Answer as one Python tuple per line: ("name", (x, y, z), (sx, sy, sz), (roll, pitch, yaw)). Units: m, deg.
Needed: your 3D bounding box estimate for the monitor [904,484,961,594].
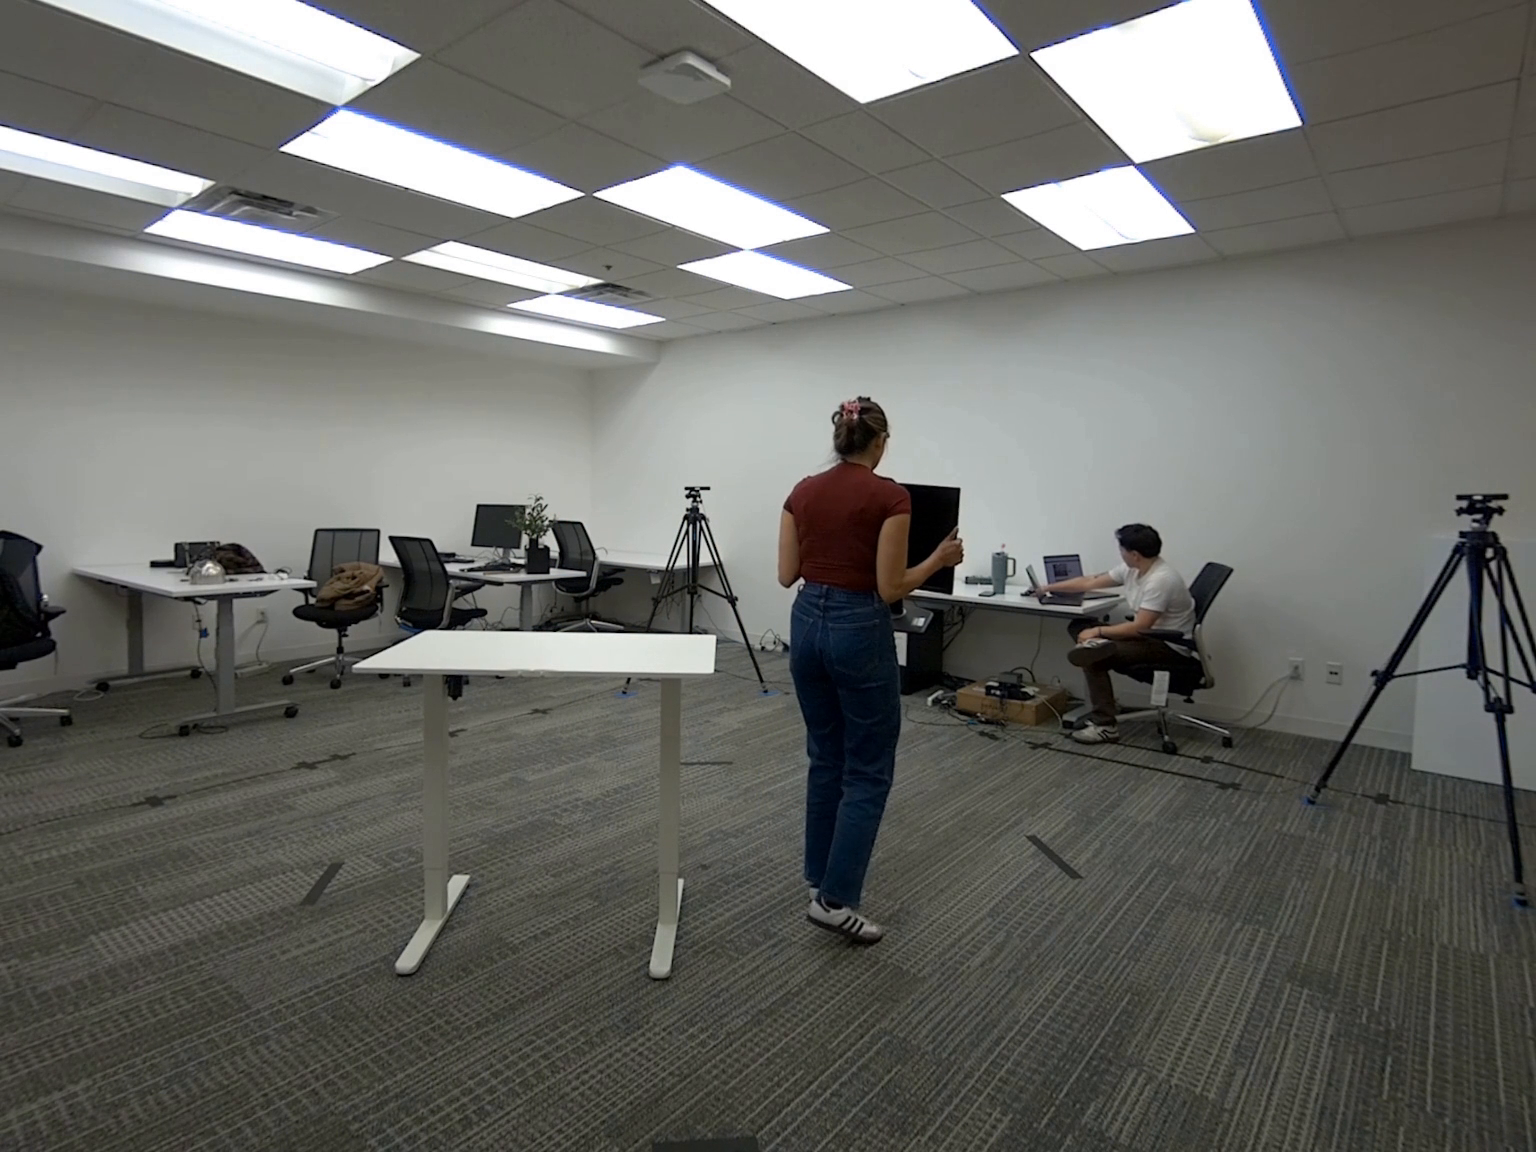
("monitor", (0.406, -0.075, 2.967), (0.557, 0.512, 0.185), (8, 23, 33))
